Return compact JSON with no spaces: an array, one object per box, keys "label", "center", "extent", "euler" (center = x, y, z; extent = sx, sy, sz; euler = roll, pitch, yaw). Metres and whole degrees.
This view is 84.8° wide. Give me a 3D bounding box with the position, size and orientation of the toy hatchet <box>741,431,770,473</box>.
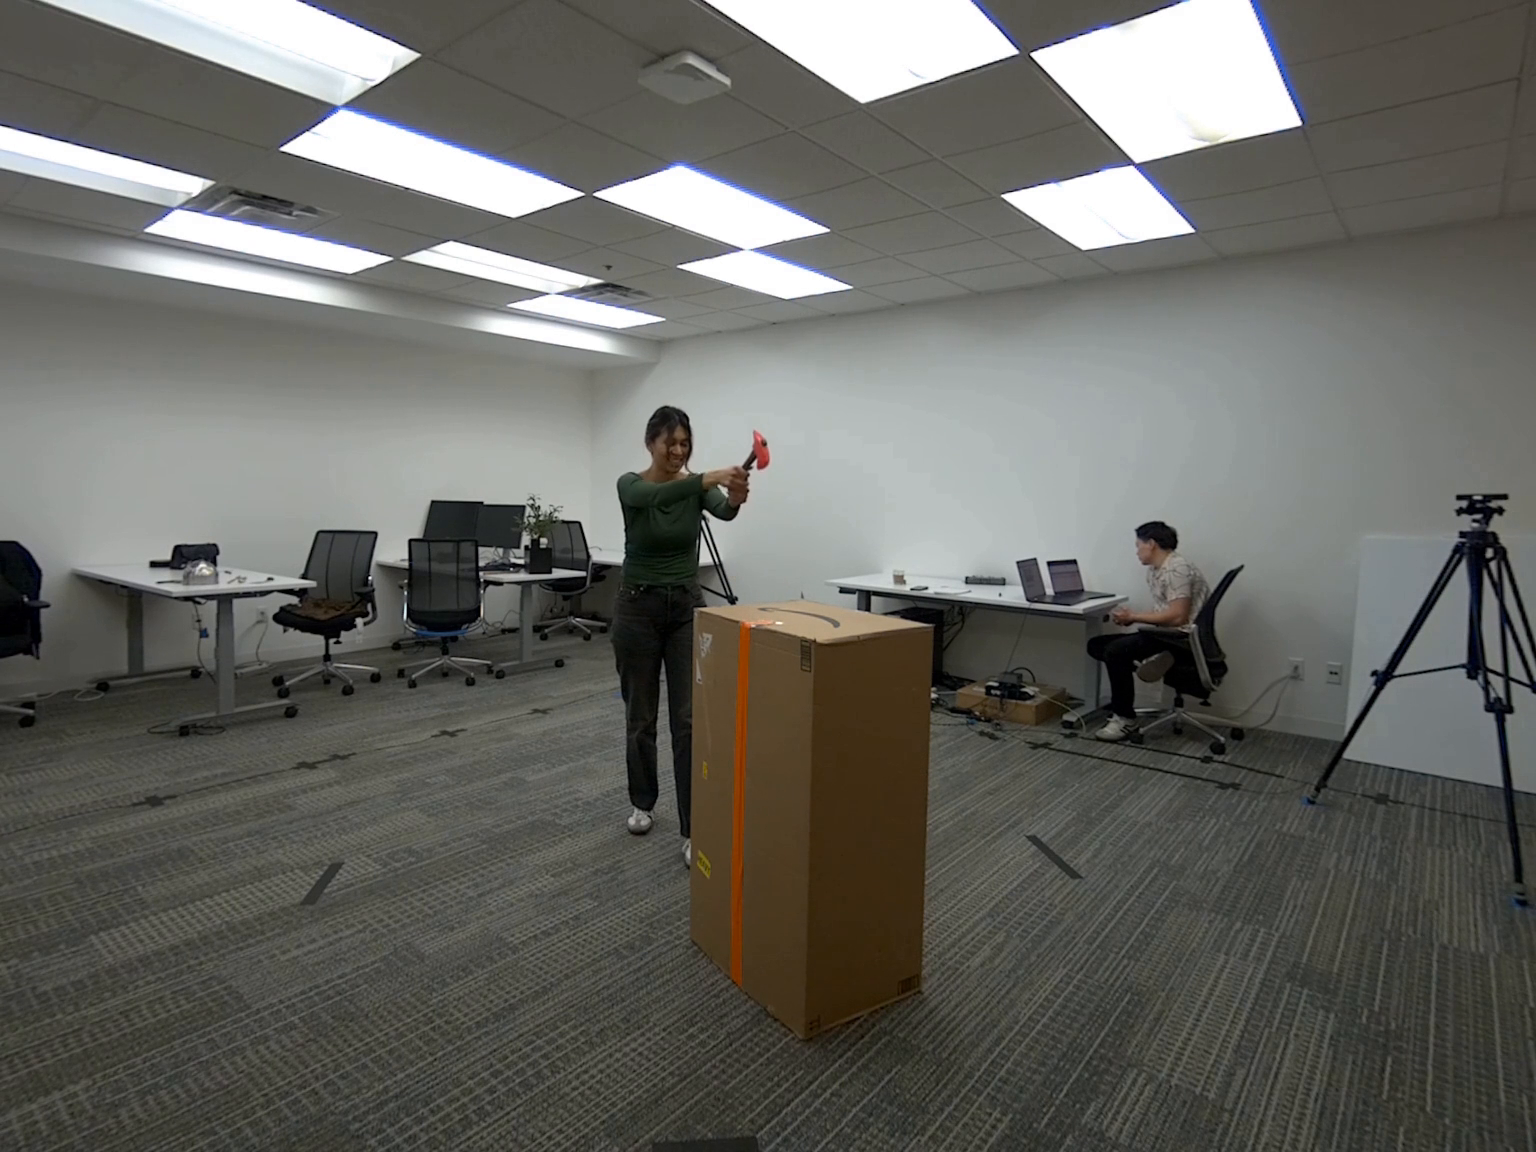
[{"label":"toy hatchet","center":[-0.069,-0.332,2.739],"extent":[0.029,0.266,0.136],"euler":[-3,43,-35]}]
